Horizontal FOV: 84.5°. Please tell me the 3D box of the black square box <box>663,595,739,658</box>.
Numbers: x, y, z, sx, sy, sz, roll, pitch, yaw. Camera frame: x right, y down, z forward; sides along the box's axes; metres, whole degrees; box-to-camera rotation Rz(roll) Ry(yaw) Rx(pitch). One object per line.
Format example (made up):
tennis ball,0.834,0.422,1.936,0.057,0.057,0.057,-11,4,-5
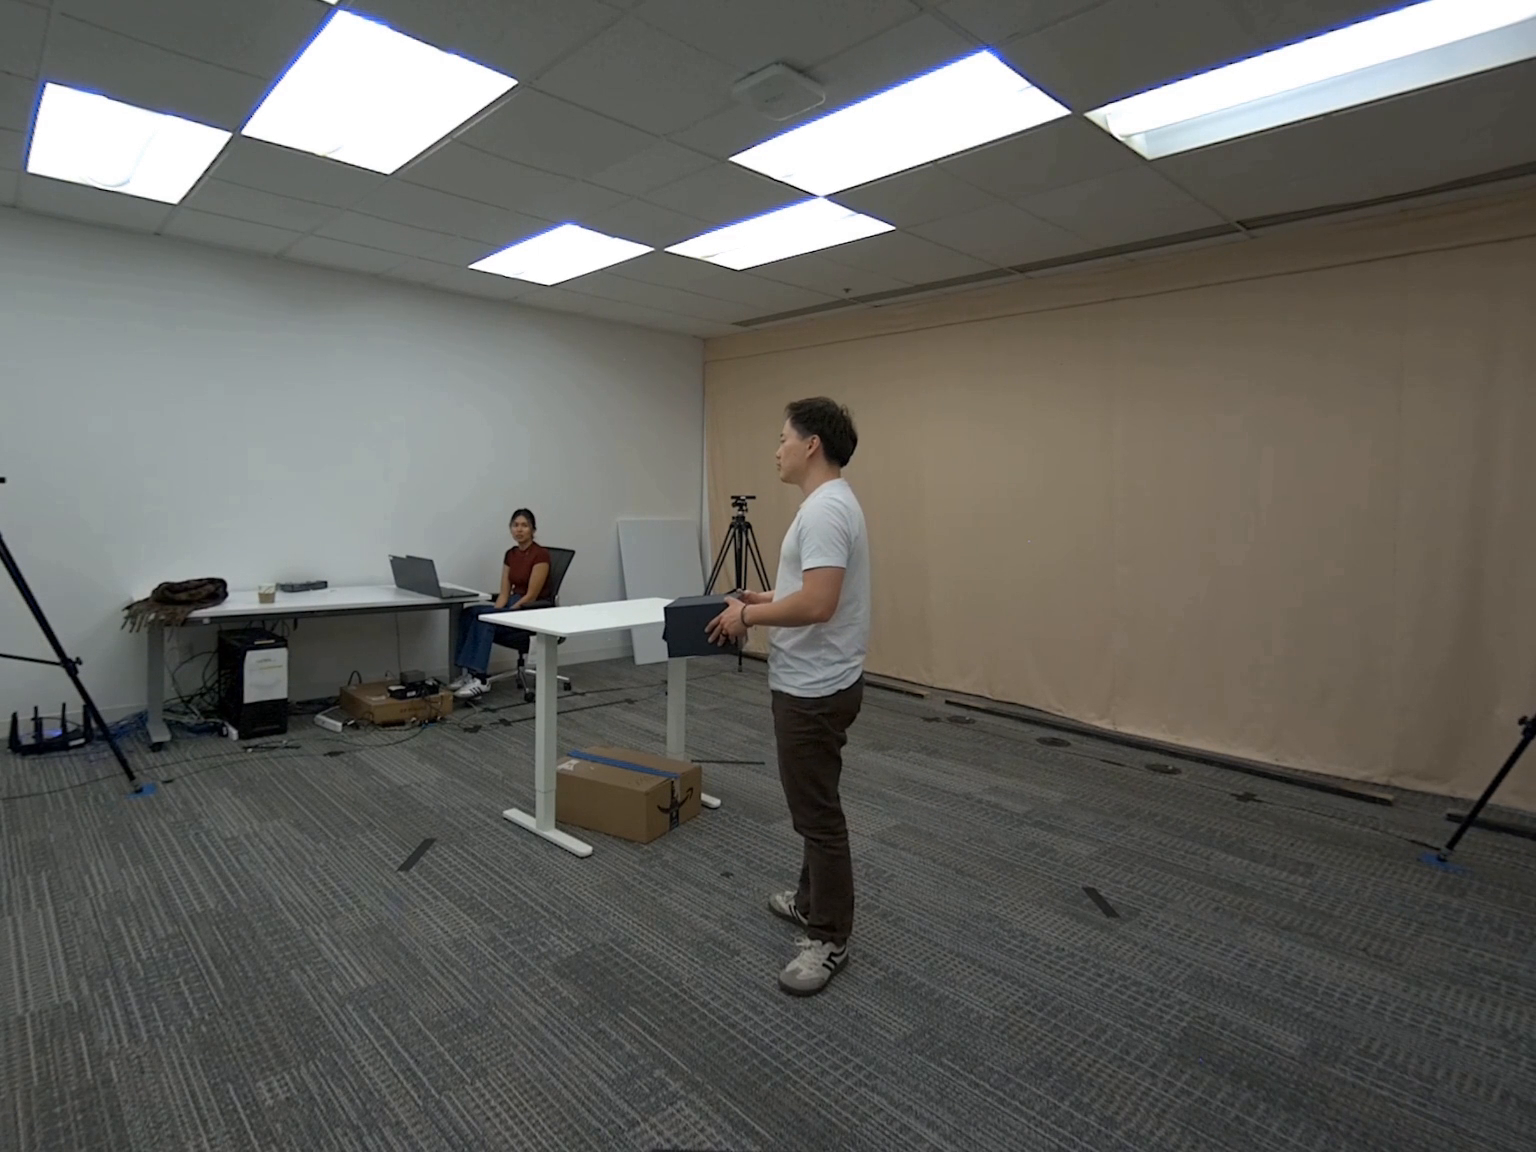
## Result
black square box,-0.183,0.150,2.600,0.218,0.155,0.227,-4,5,9
